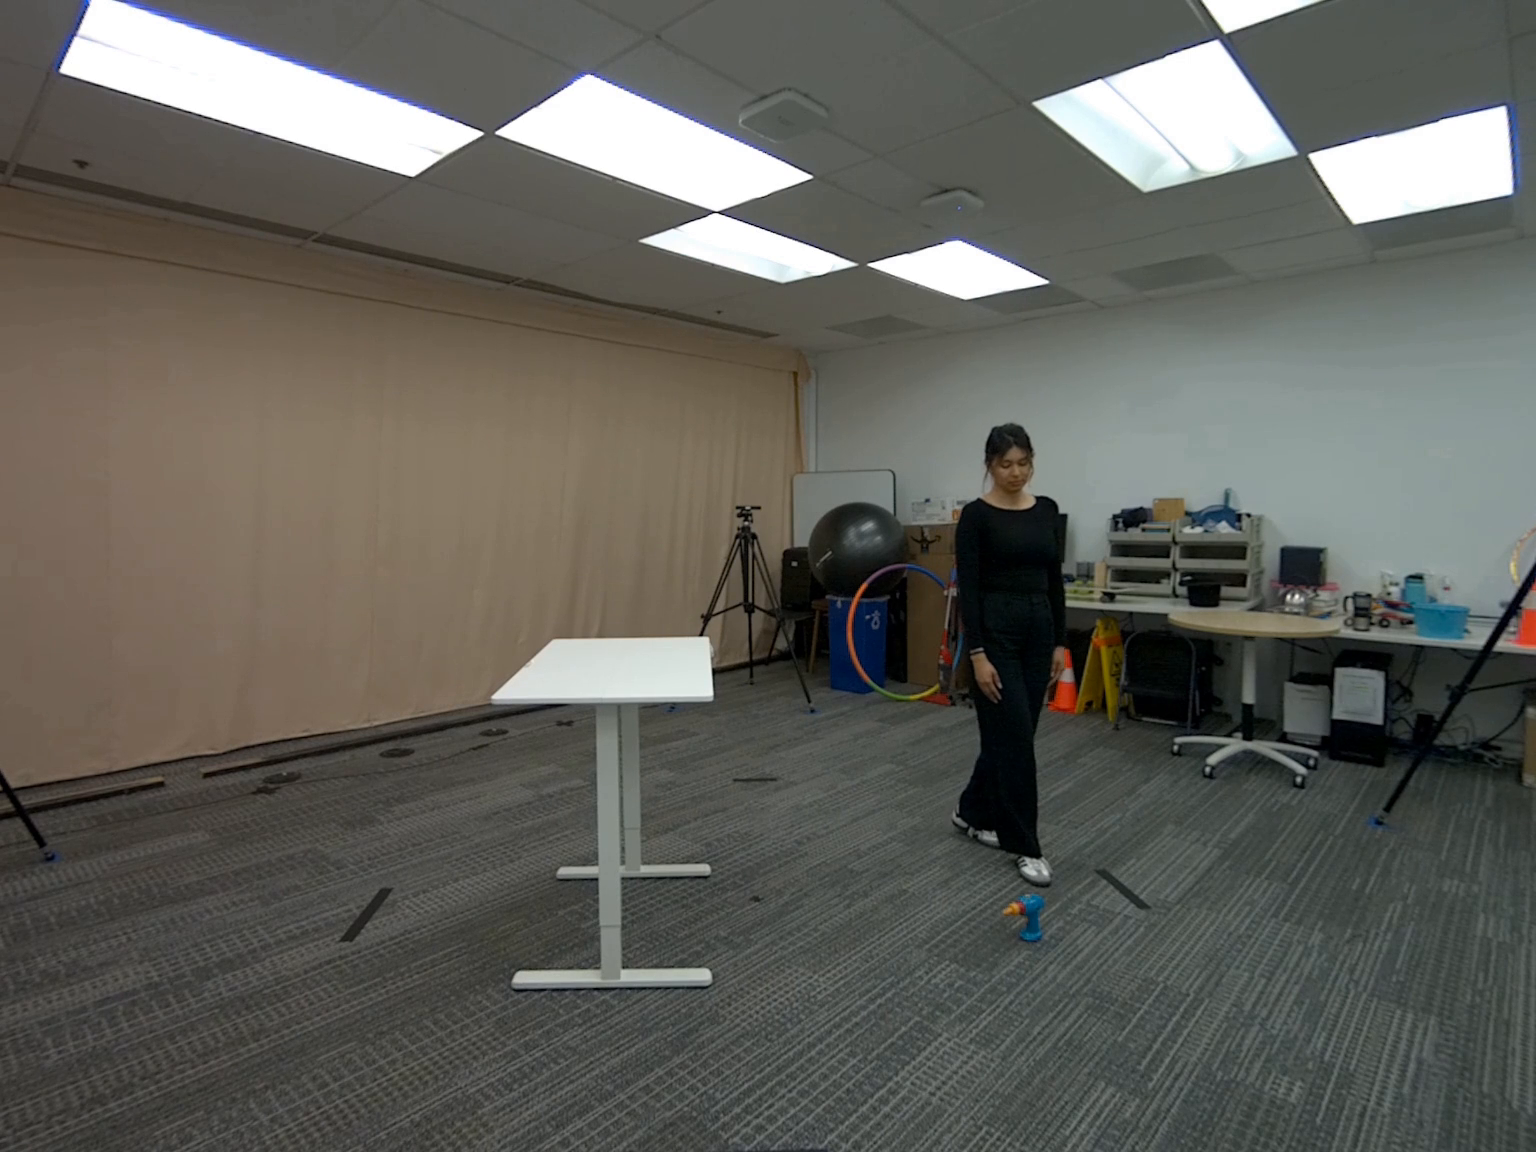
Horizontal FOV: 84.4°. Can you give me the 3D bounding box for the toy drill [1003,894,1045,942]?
[{"bbox_3d":[0.823,1.095,2.684,0.165,0.145,0.063,-2,6,-27],"label":"toy drill"}]
